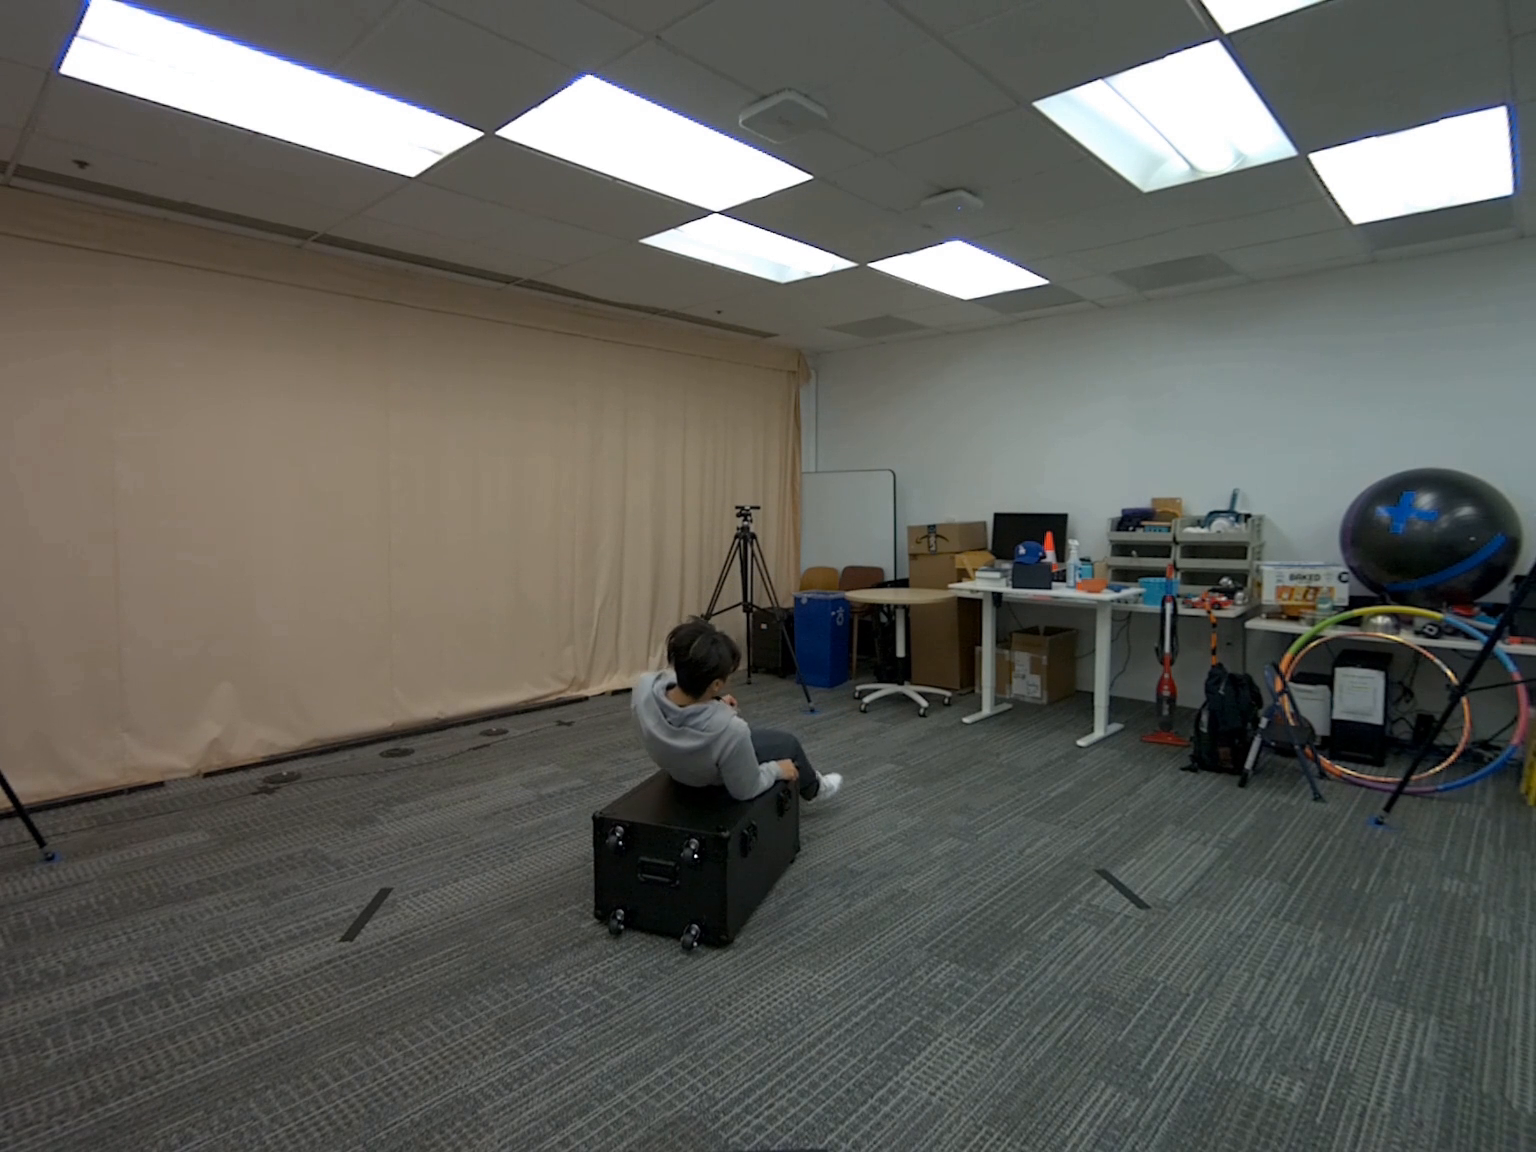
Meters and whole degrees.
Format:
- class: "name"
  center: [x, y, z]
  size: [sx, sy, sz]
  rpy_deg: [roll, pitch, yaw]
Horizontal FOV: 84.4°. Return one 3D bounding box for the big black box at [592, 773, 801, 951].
- class: "big black box"
  center: [-0.214, 0.947, 3.084]
  size: [0.533, 0.395, 0.845]
  rpy_deg: [2, 6, 20]
